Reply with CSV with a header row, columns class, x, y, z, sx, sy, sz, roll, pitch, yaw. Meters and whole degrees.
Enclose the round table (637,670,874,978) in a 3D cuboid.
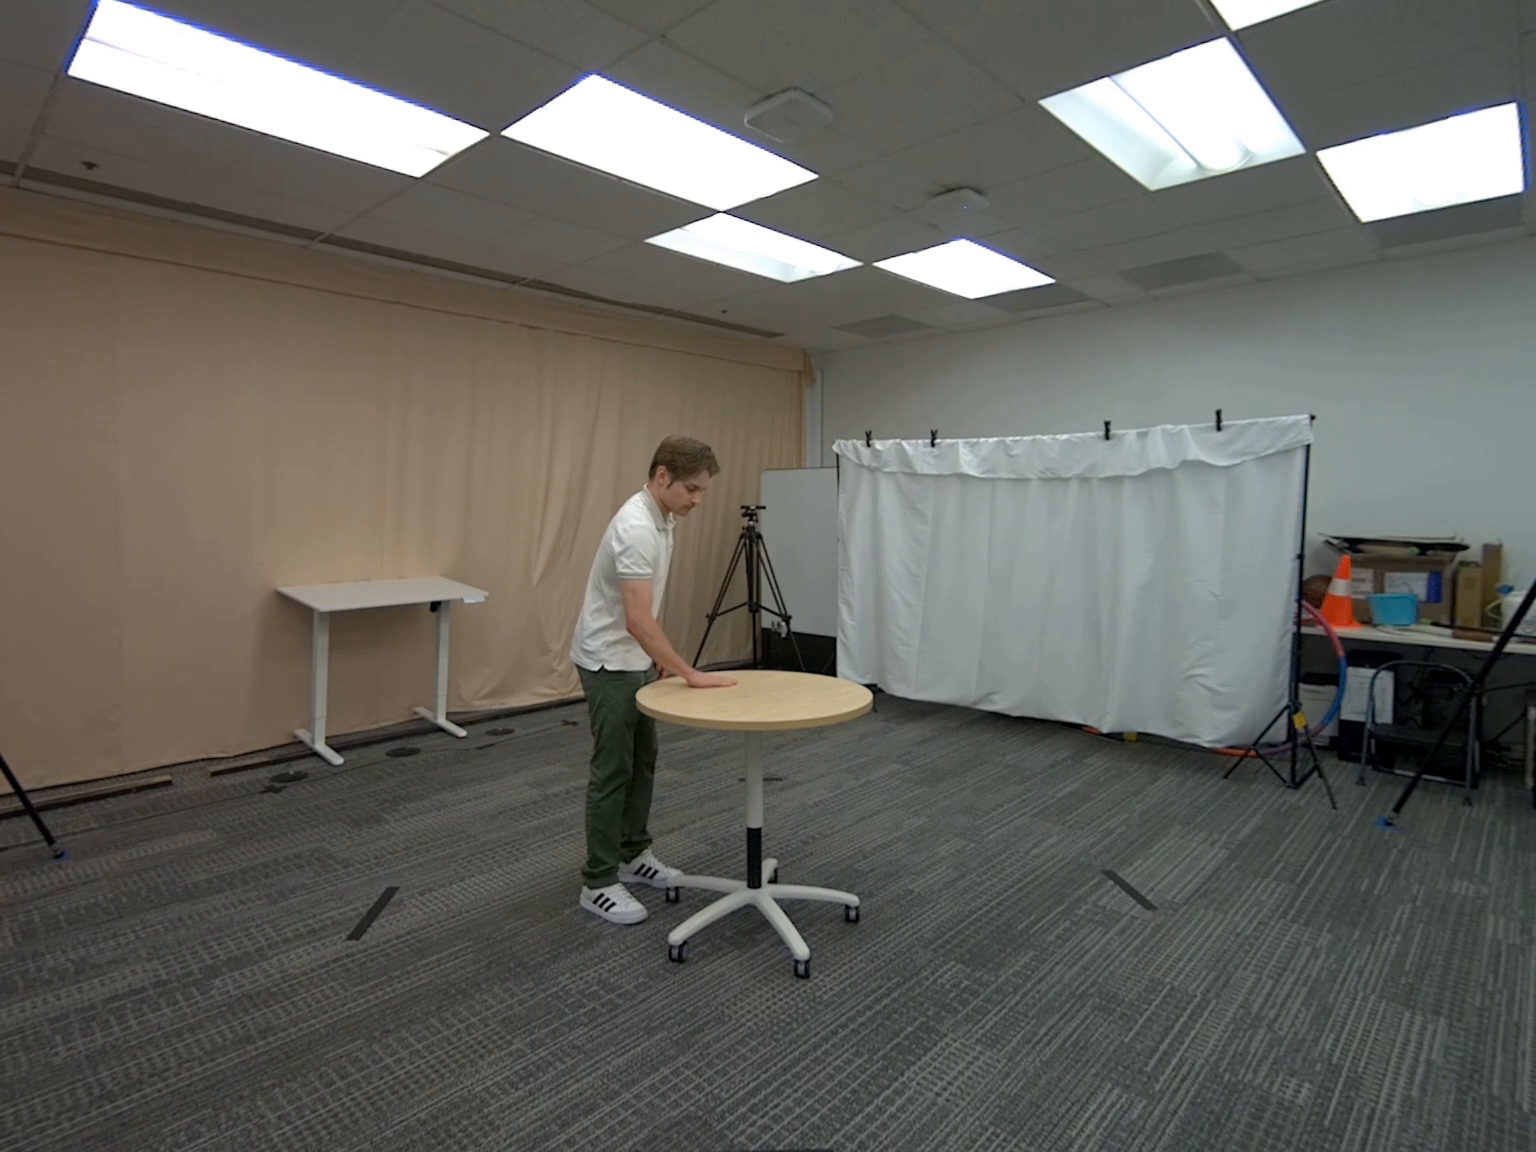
class,x,y,z,sx,sy,sz,roll,pitch,yaw
round table,-0.034,0.771,2.744,0.784,0.785,0.787,-1,3,-2
